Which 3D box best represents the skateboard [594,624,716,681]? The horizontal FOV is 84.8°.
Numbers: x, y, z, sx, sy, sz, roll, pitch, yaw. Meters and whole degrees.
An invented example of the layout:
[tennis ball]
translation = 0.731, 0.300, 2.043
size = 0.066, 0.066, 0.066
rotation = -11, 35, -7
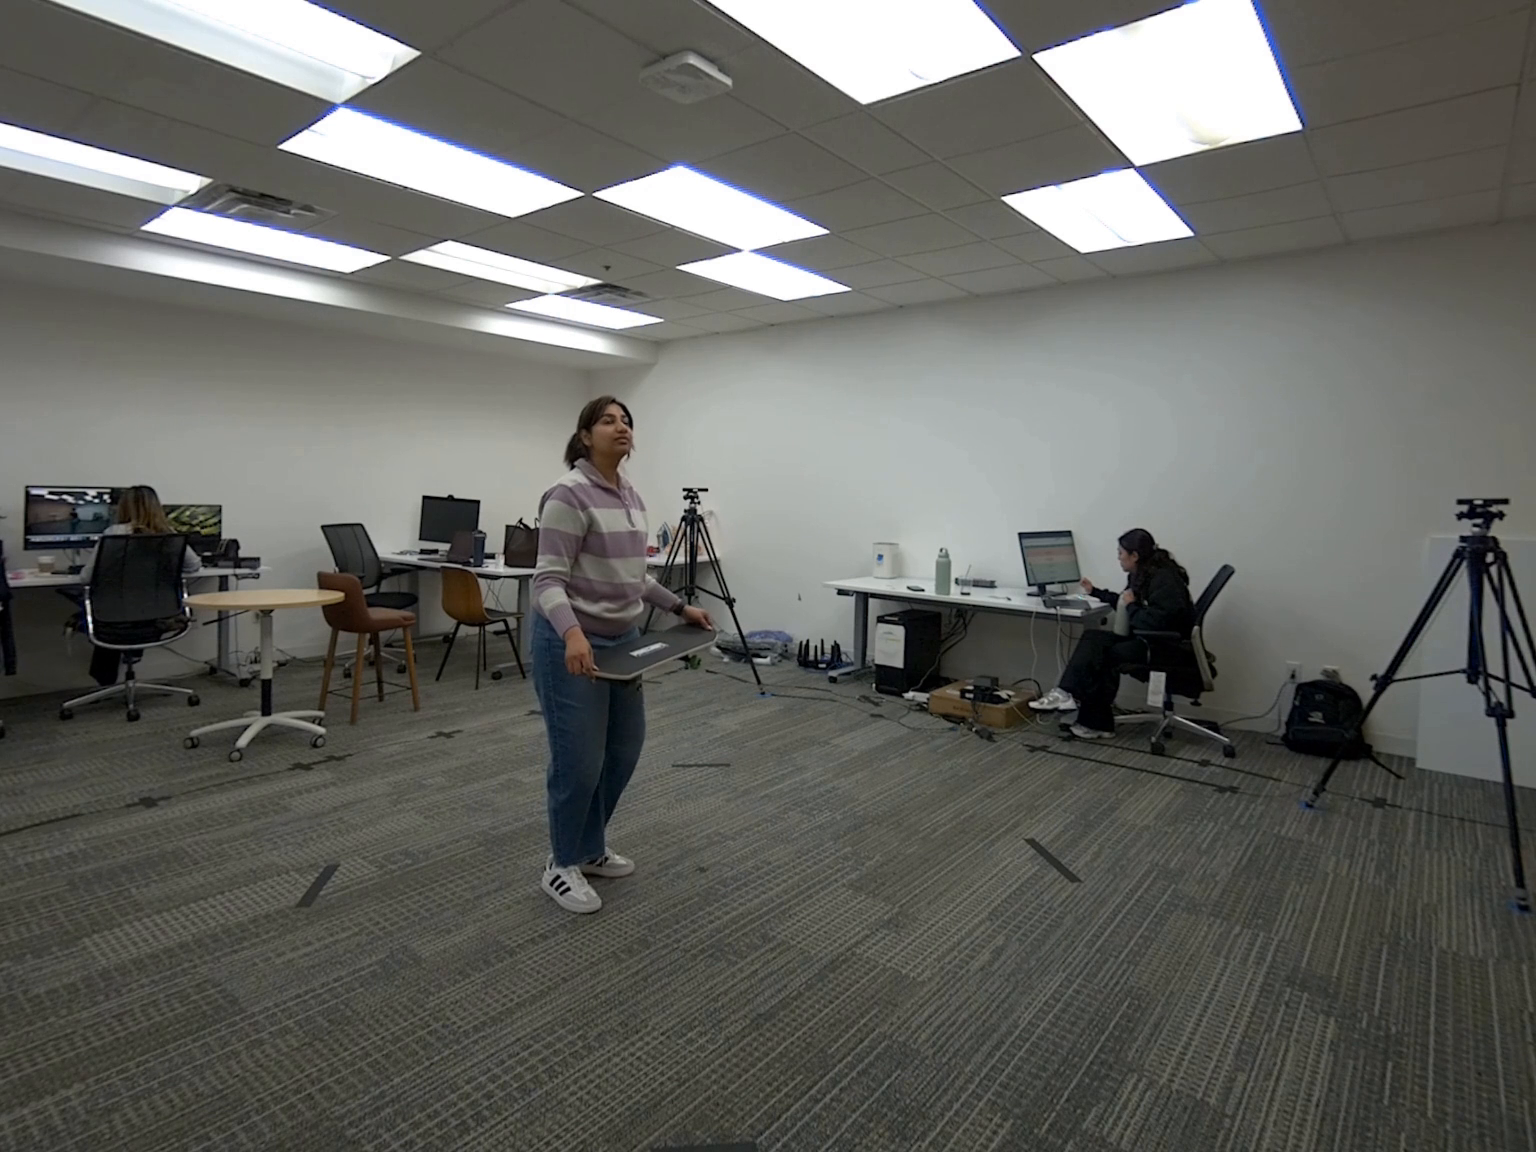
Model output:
[skateboard]
translation = -0.398, 0.275, 2.796
size = 0.199, 0.109, 0.769
rotation = 10, 9, 23
